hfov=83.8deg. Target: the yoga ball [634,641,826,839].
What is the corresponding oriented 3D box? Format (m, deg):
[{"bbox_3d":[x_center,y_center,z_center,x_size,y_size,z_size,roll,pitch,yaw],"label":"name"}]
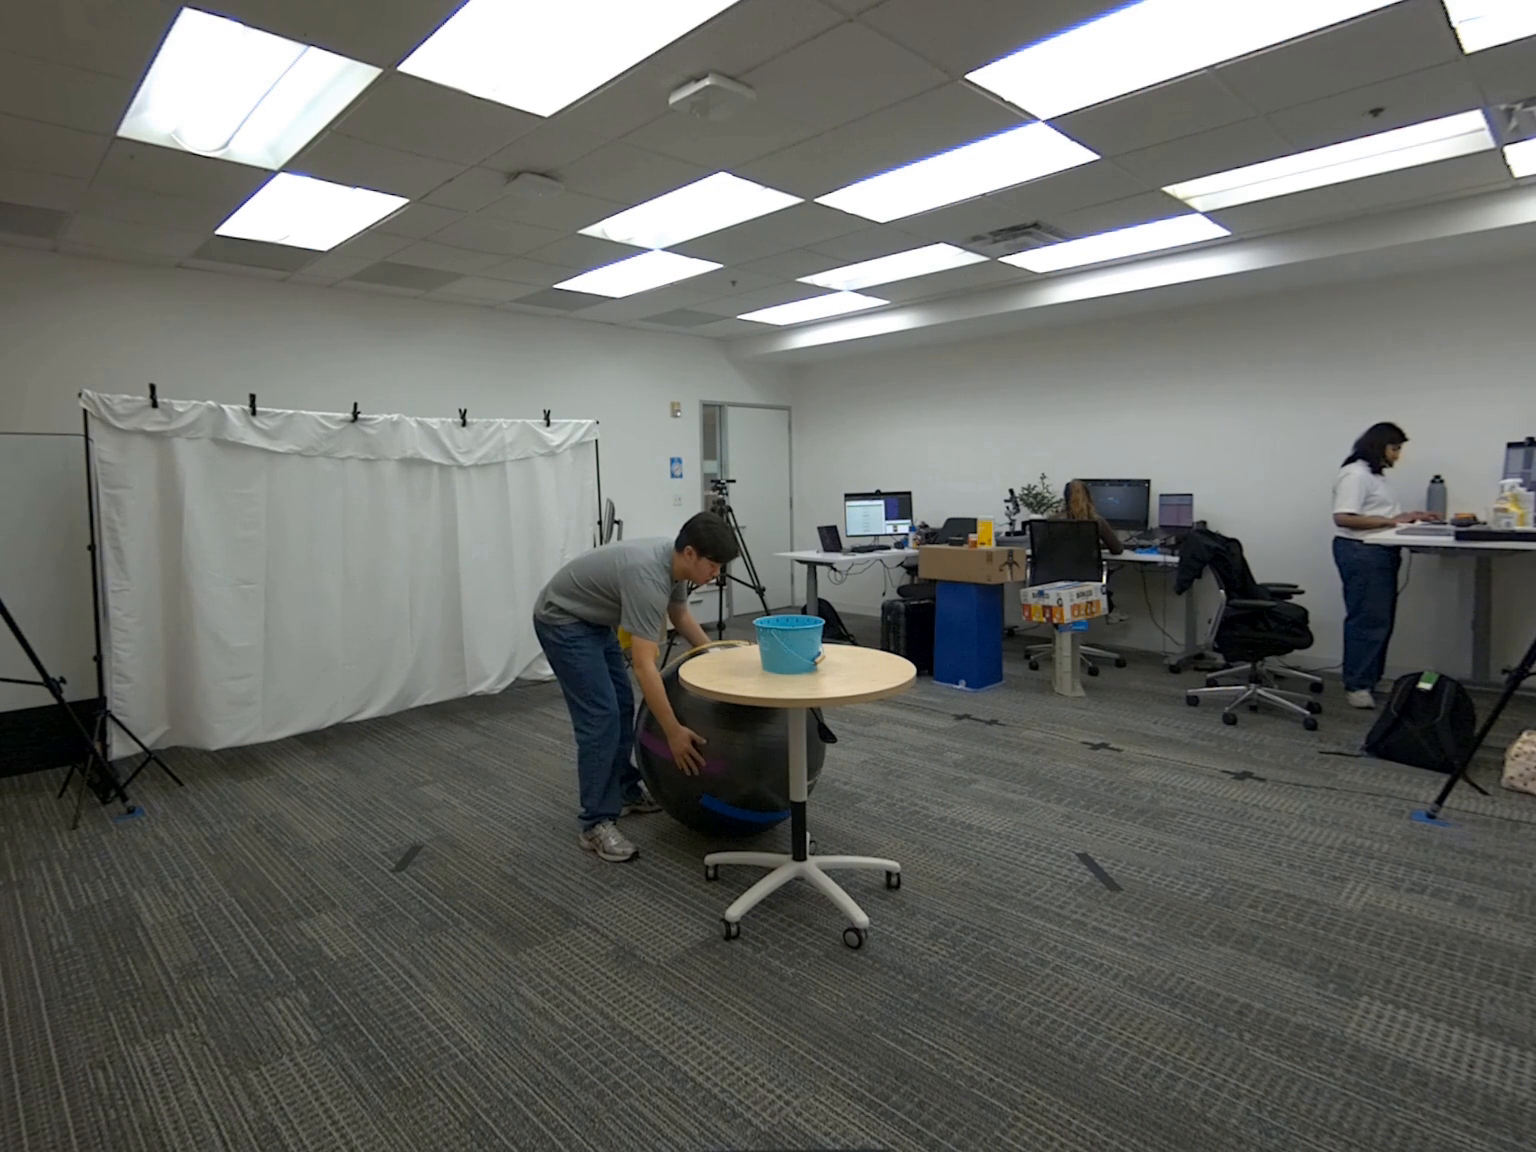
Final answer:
[{"bbox_3d":[-0.152,0.640,3.402,0.757,0.755,0.762,-1,5,-2],"label":"yoga ball"}]
